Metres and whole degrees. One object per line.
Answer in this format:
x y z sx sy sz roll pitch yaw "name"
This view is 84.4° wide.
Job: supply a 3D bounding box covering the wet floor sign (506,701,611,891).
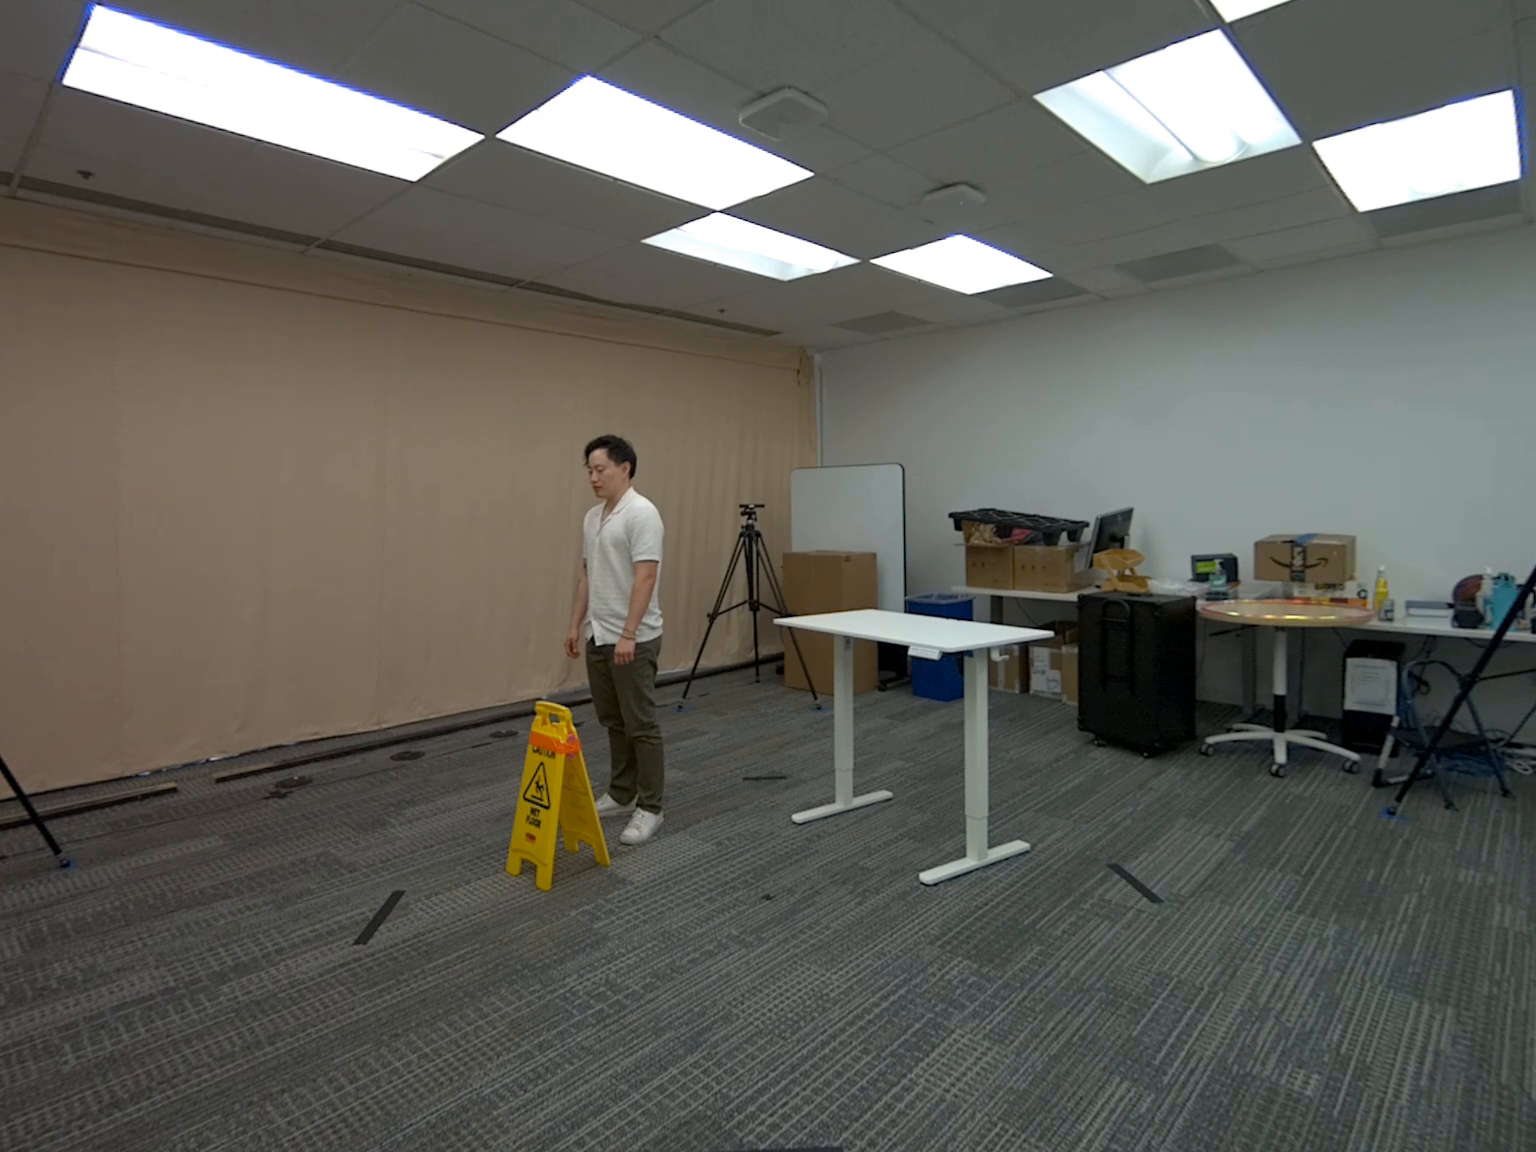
-0.816 0.811 3.255 0.291 0.645 0.281 1 4 42 "wet floor sign"
